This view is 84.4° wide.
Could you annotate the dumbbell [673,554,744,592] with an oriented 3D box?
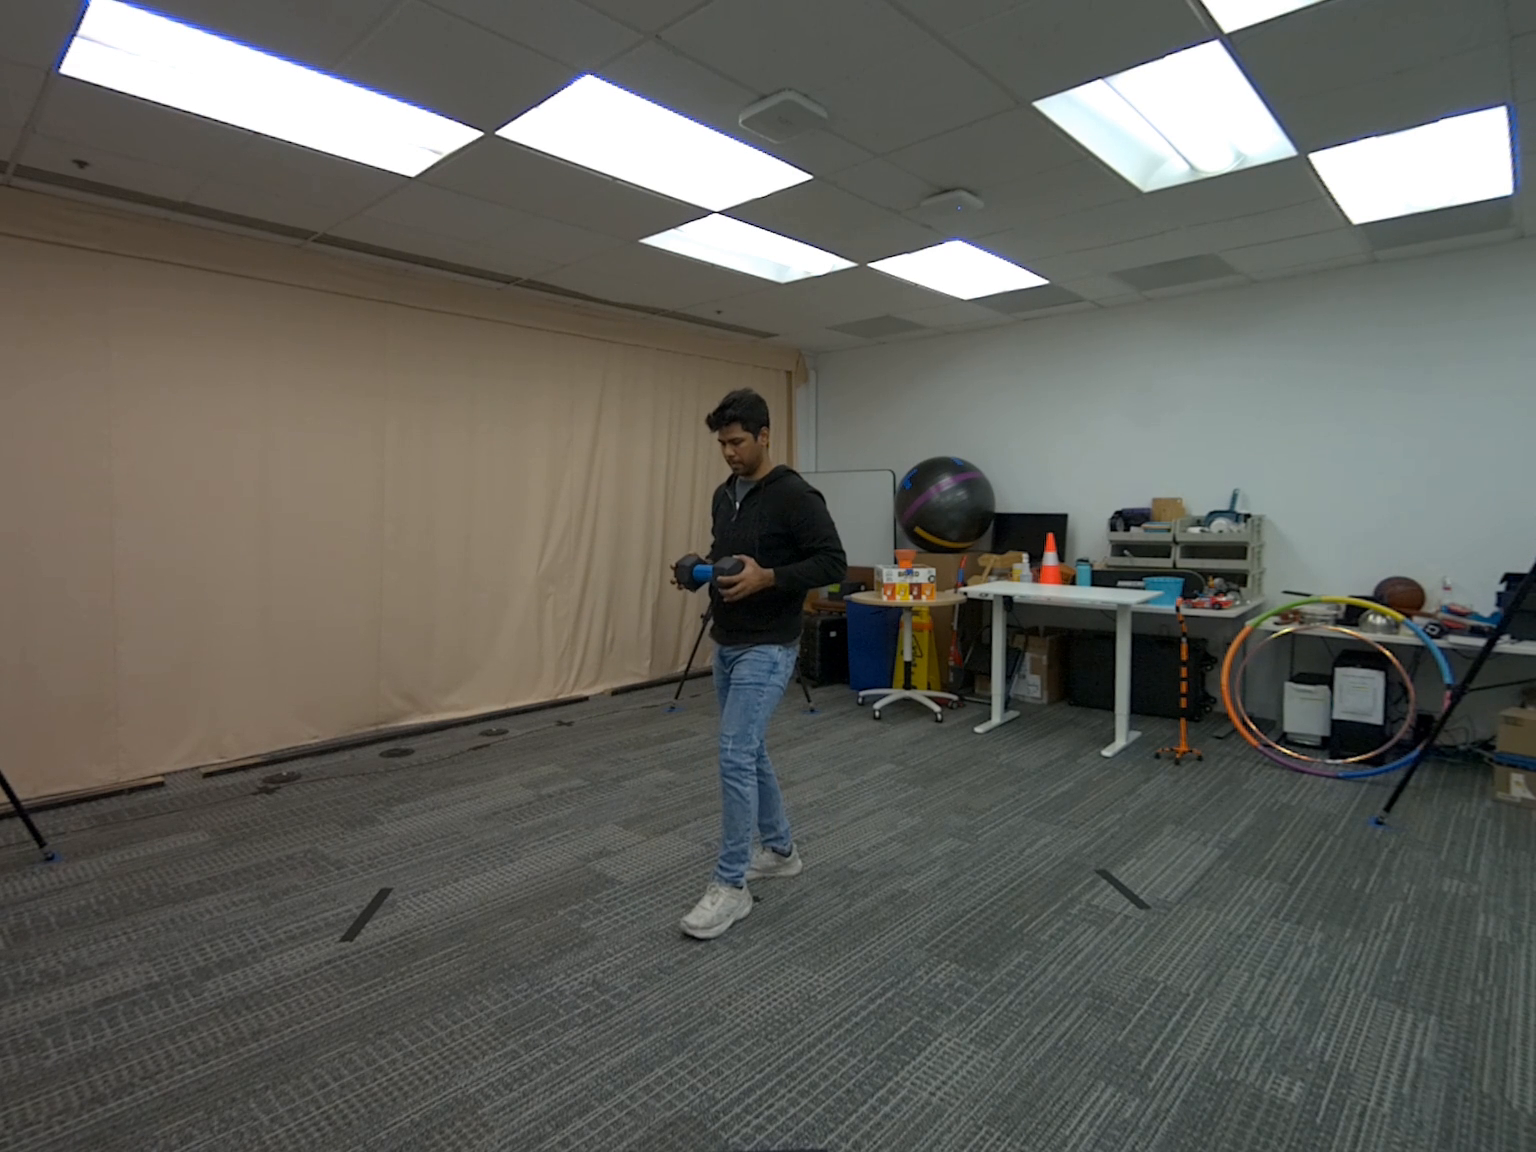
[{"bbox_3d":[-0.189,-0.007,2.856,0.119,0.109,0.303,32,-16,-35],"label":"dumbbell"}]
